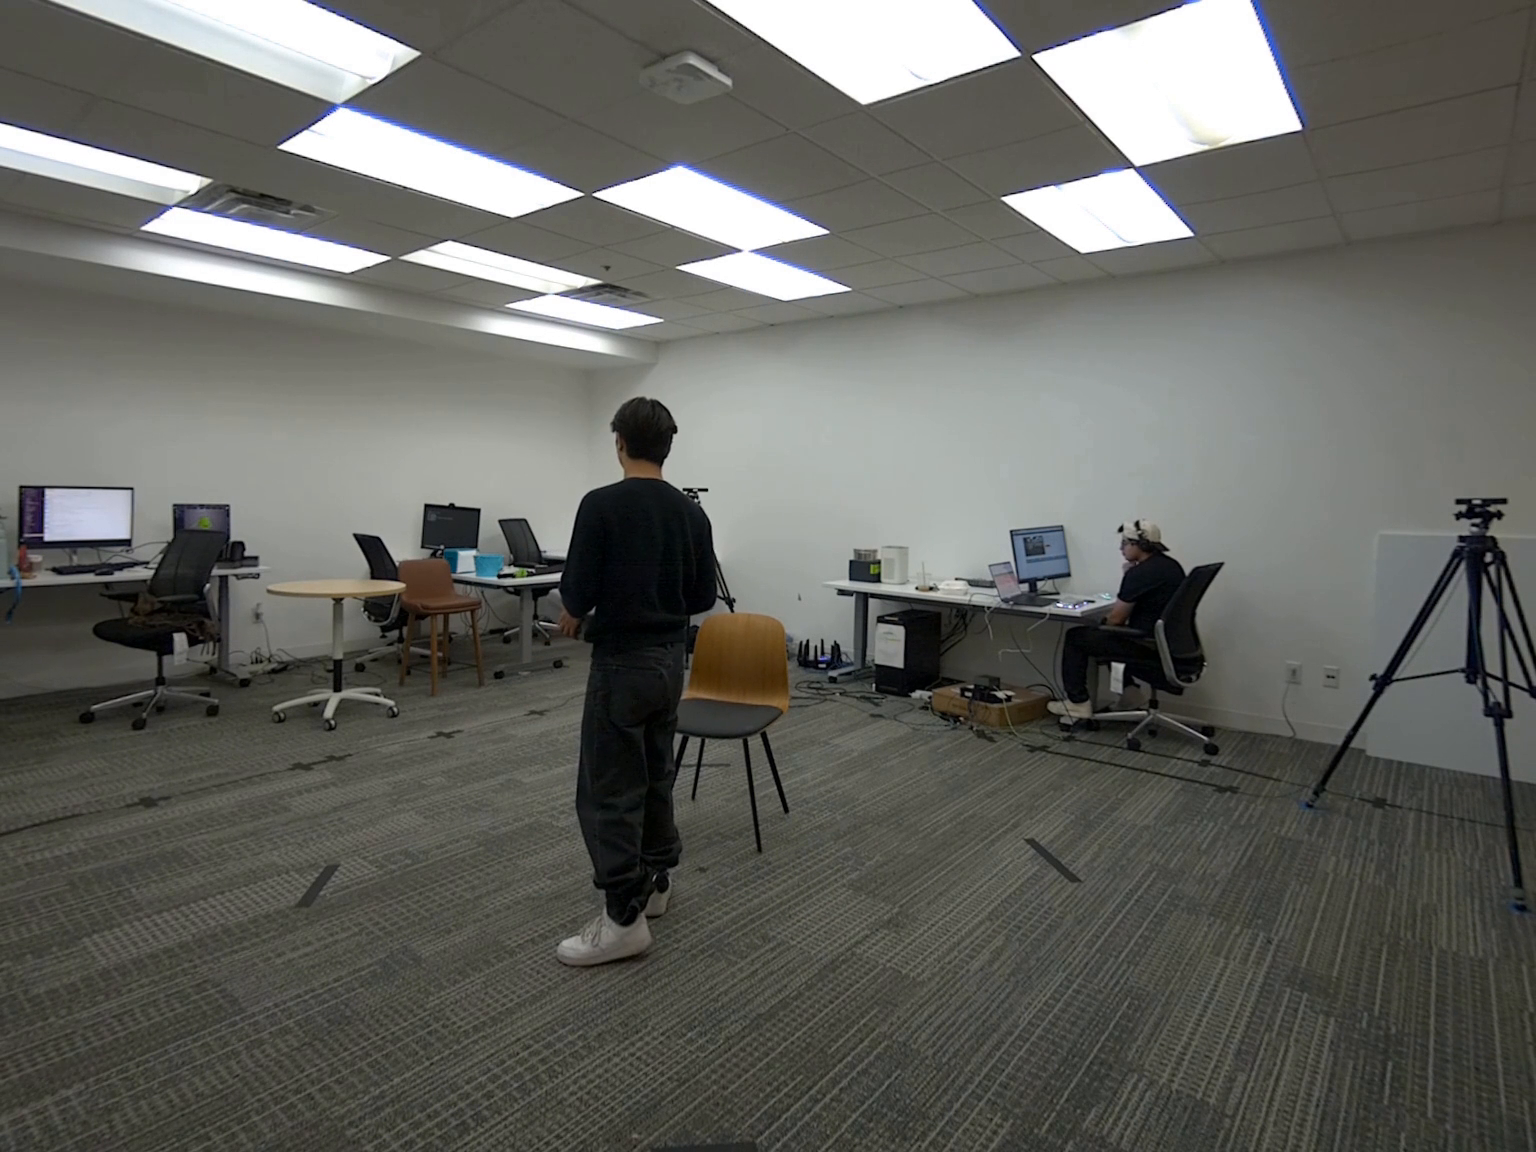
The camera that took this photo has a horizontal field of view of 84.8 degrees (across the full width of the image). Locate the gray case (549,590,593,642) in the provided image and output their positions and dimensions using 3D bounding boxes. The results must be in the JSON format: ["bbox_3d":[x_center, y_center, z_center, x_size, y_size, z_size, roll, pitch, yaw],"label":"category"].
[{"bbox_3d":[-0.622,0.122,2.947,0.270,0.103,0.249,22,14,32],"label":"gray case"}]
